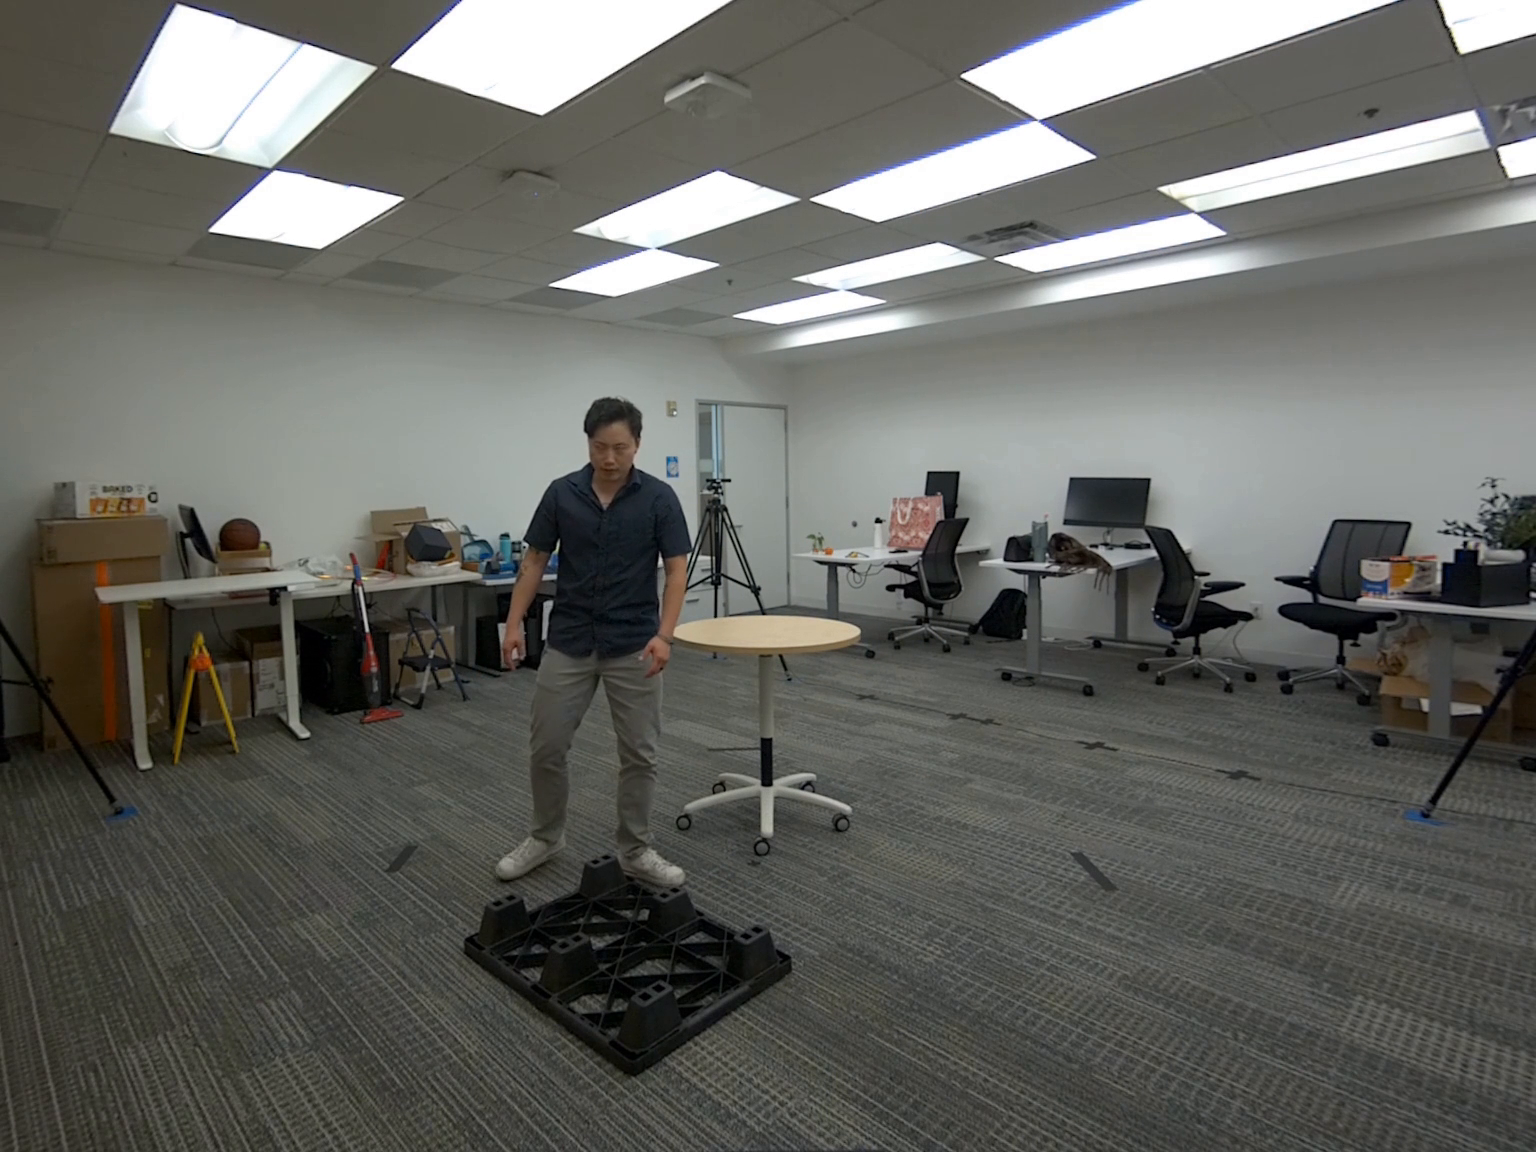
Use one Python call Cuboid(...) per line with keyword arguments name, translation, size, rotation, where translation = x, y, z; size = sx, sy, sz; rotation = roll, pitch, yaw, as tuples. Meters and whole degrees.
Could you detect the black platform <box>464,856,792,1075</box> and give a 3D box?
Cuboid(name="black platform", translation=(-0.424, 1.059, 2.487), size=(0.830, 0.143, 0.589), rotation=(5, 8, 42))
